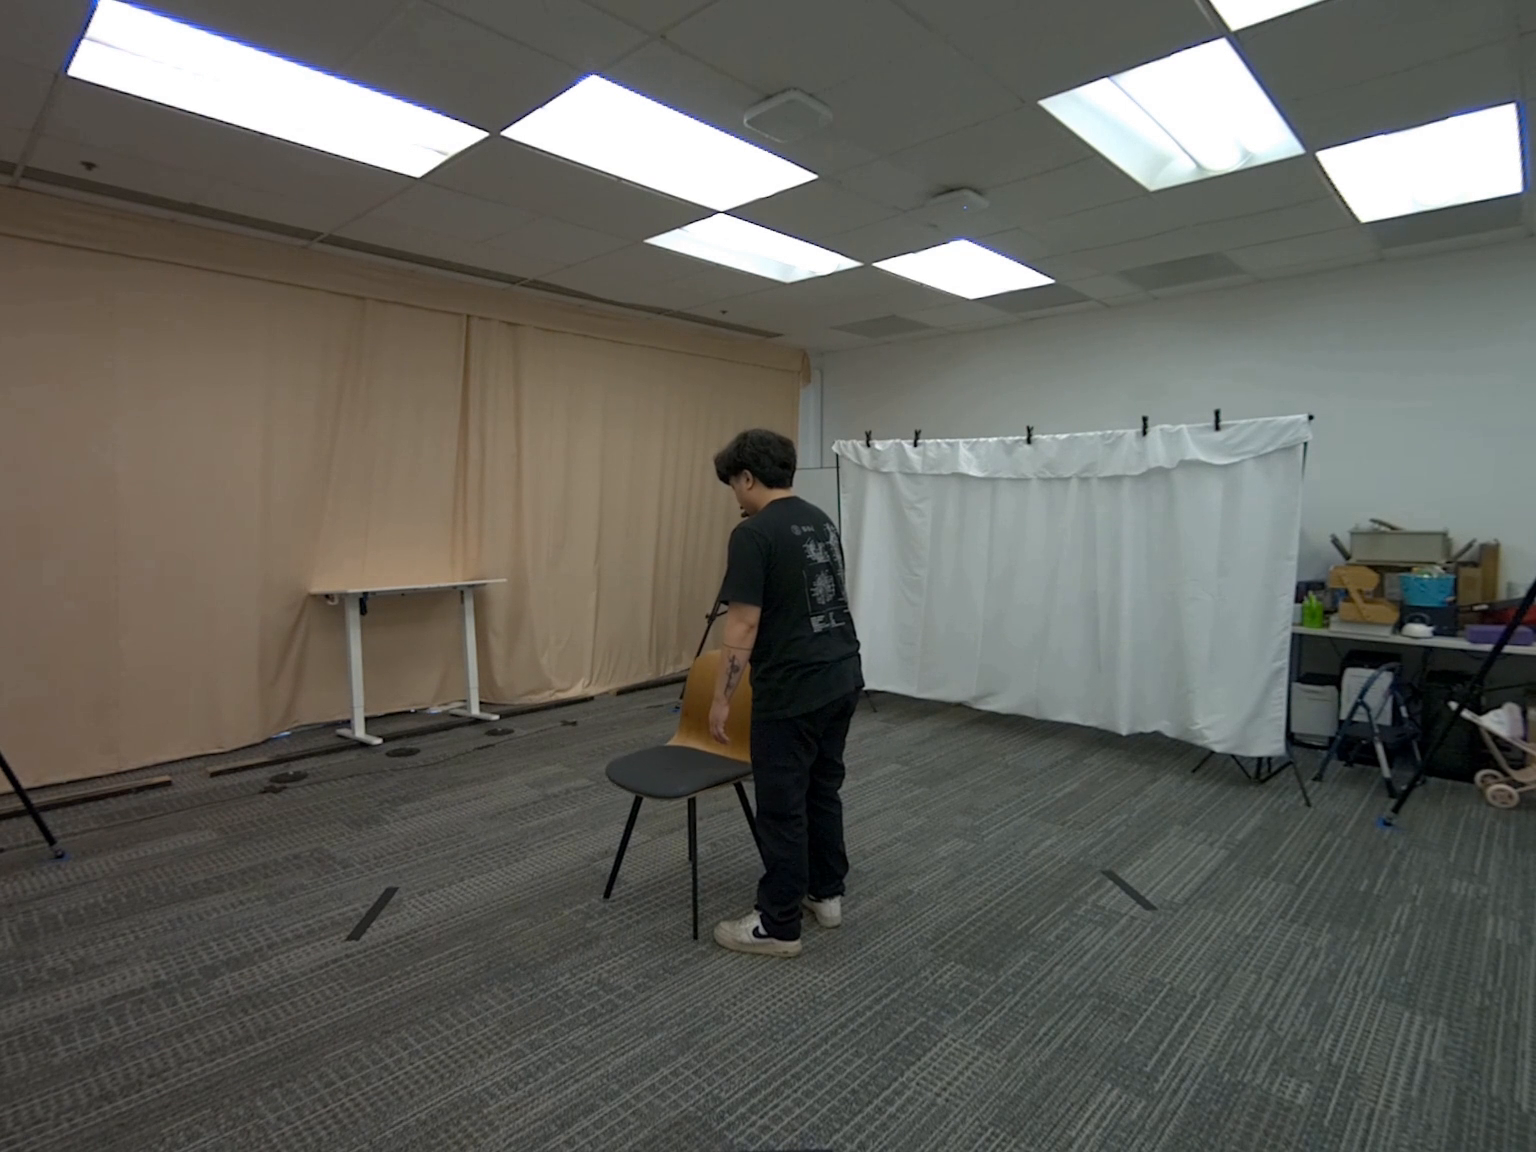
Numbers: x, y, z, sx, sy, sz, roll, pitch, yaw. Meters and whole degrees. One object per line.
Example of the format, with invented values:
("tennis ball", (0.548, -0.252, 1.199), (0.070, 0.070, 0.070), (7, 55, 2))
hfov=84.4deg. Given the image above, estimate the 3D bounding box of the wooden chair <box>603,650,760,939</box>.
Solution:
("wooden chair", (-0.270, 0.715, 2.979), (0.494, 0.877, 0.506), (3, 0, 40))
